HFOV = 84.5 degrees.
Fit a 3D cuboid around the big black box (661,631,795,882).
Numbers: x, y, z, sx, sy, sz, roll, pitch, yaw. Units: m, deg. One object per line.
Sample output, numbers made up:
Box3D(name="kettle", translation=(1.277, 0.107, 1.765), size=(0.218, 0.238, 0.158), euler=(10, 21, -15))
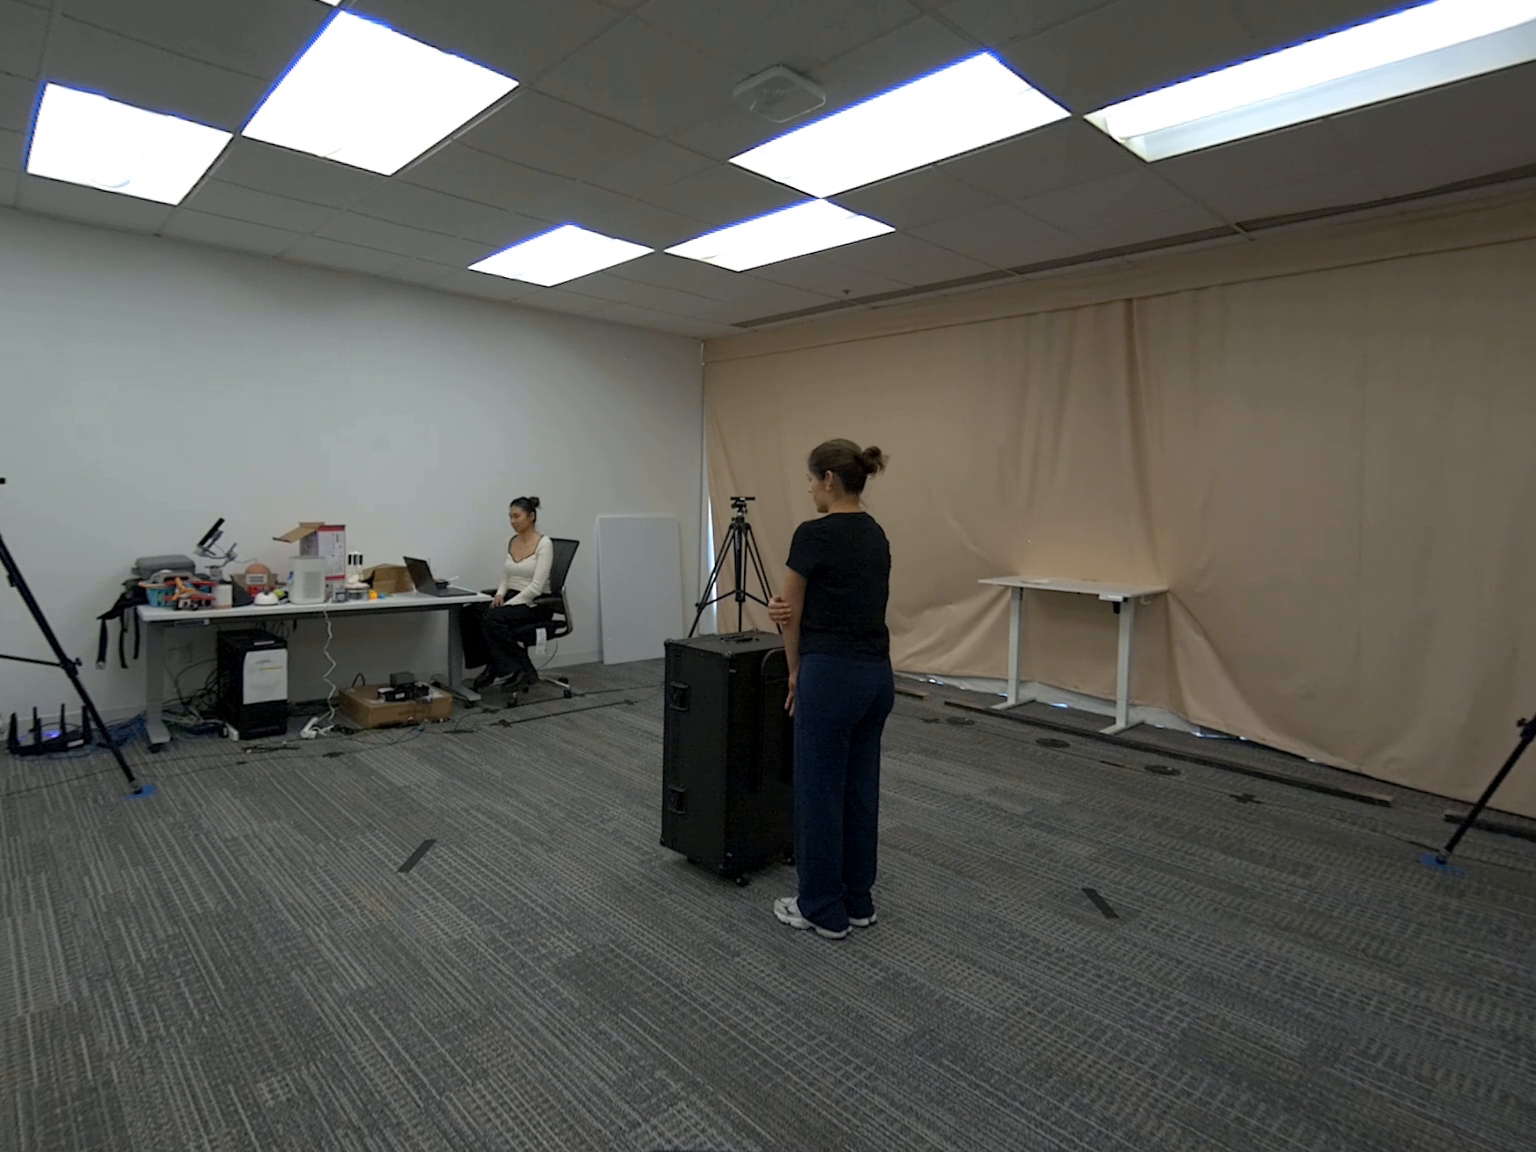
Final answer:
Box3D(name="big black box", translation=(-0.102, 0.618, 3.196), size=(0.509, 0.860, 0.406), euler=(-1, 4, -44))
